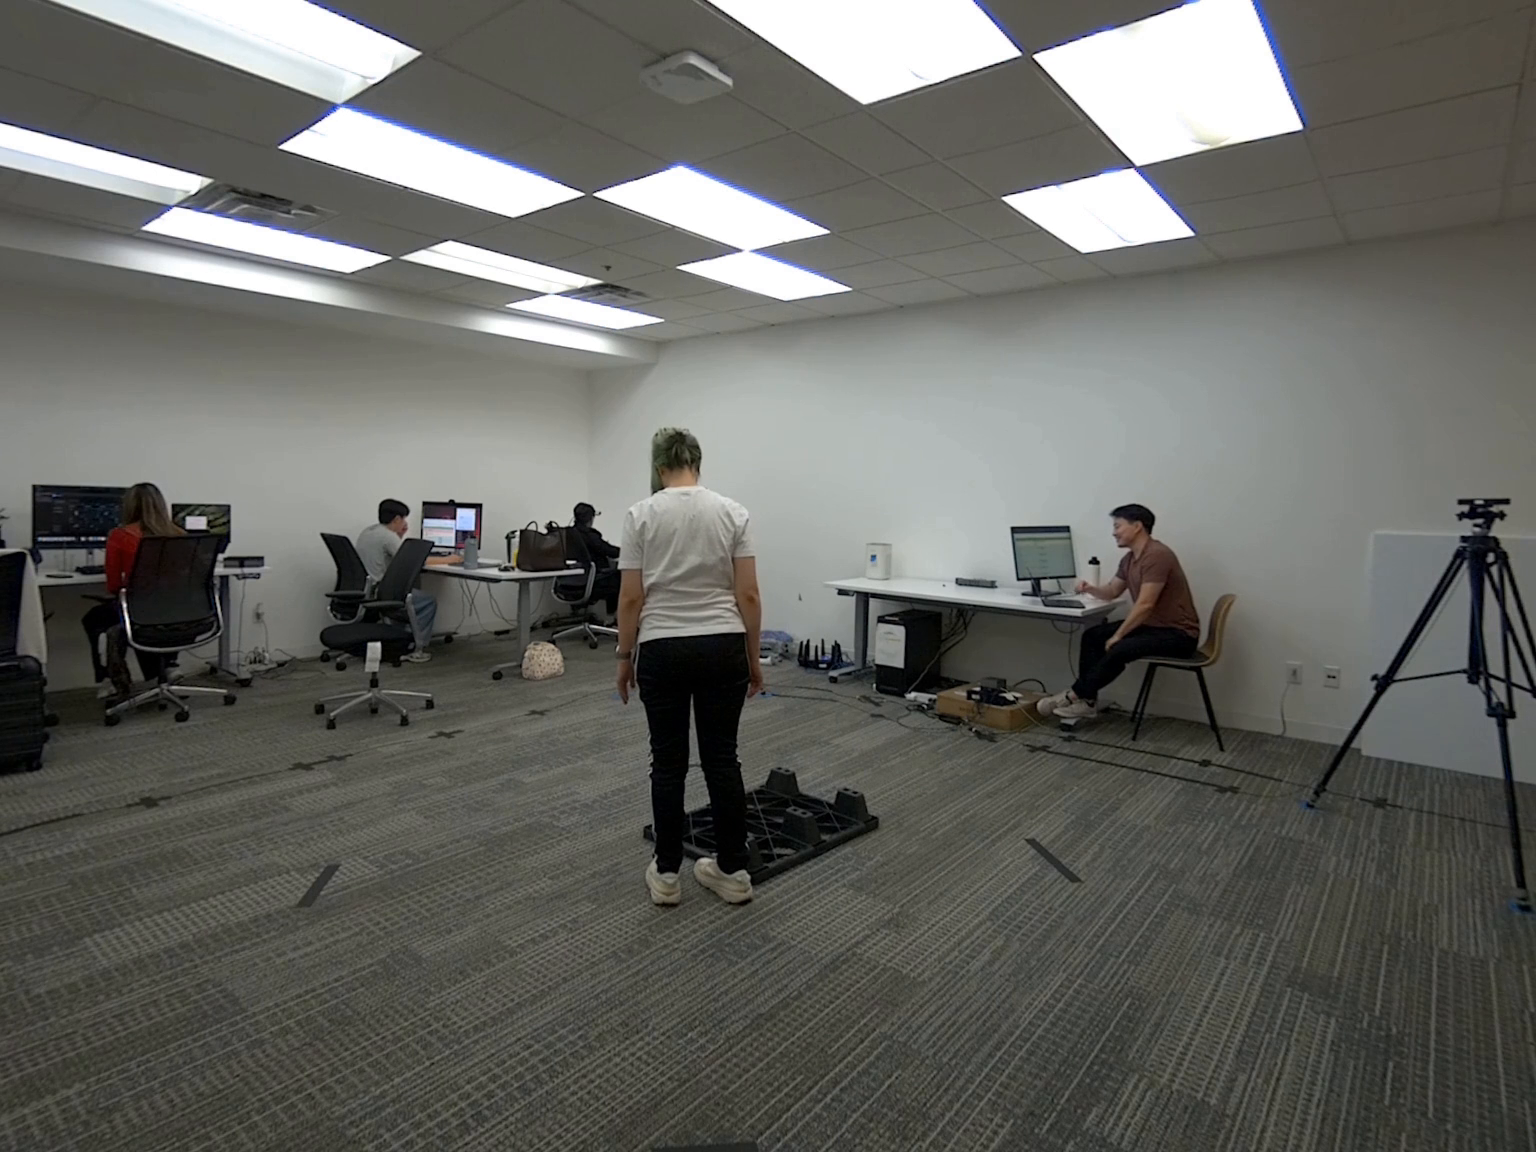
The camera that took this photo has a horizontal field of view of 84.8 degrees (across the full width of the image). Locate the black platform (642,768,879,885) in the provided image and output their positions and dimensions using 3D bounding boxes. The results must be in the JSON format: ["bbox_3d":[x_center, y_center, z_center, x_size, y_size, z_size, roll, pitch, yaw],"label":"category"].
[{"bbox_3d":[-0.027,0.974,3.454,0.626,0.143,0.782,5,7,42],"label":"black platform"}]
